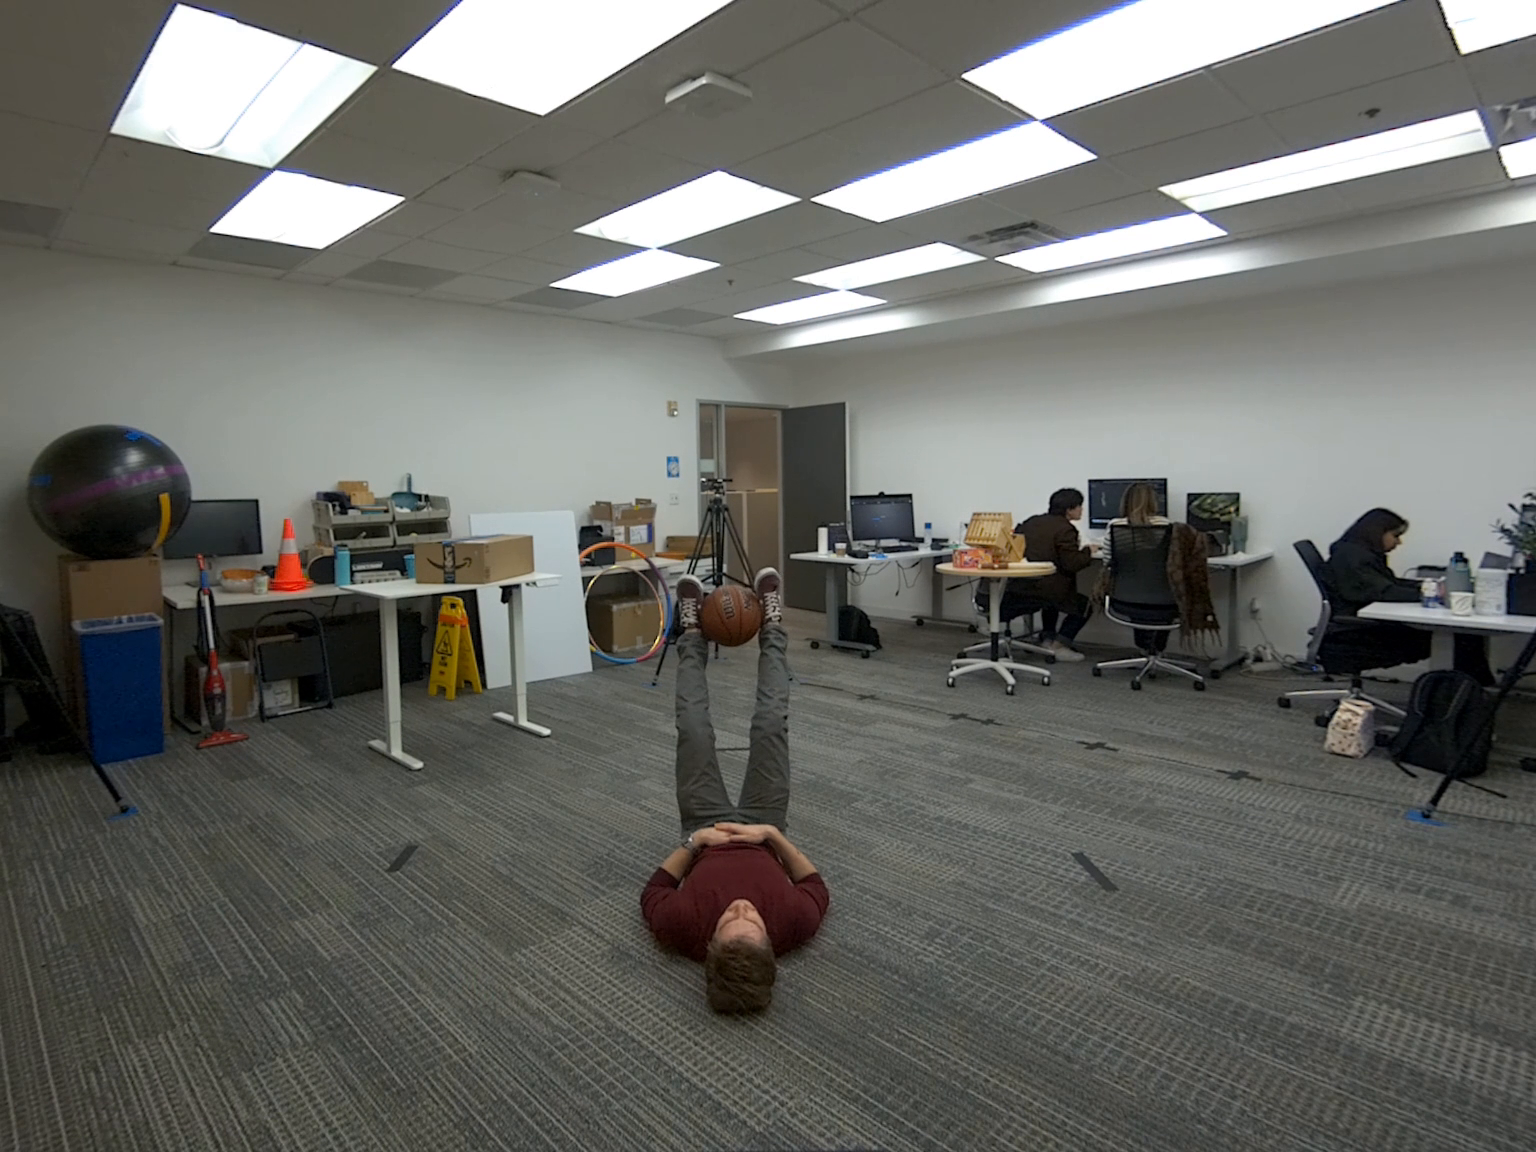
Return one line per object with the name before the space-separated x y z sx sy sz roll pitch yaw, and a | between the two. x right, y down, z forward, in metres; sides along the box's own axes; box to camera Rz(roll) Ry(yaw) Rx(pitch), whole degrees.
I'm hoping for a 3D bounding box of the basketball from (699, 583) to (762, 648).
basketball | -0.136 0.150 3.290 0.236 0.236 0.236 0 1 -2
